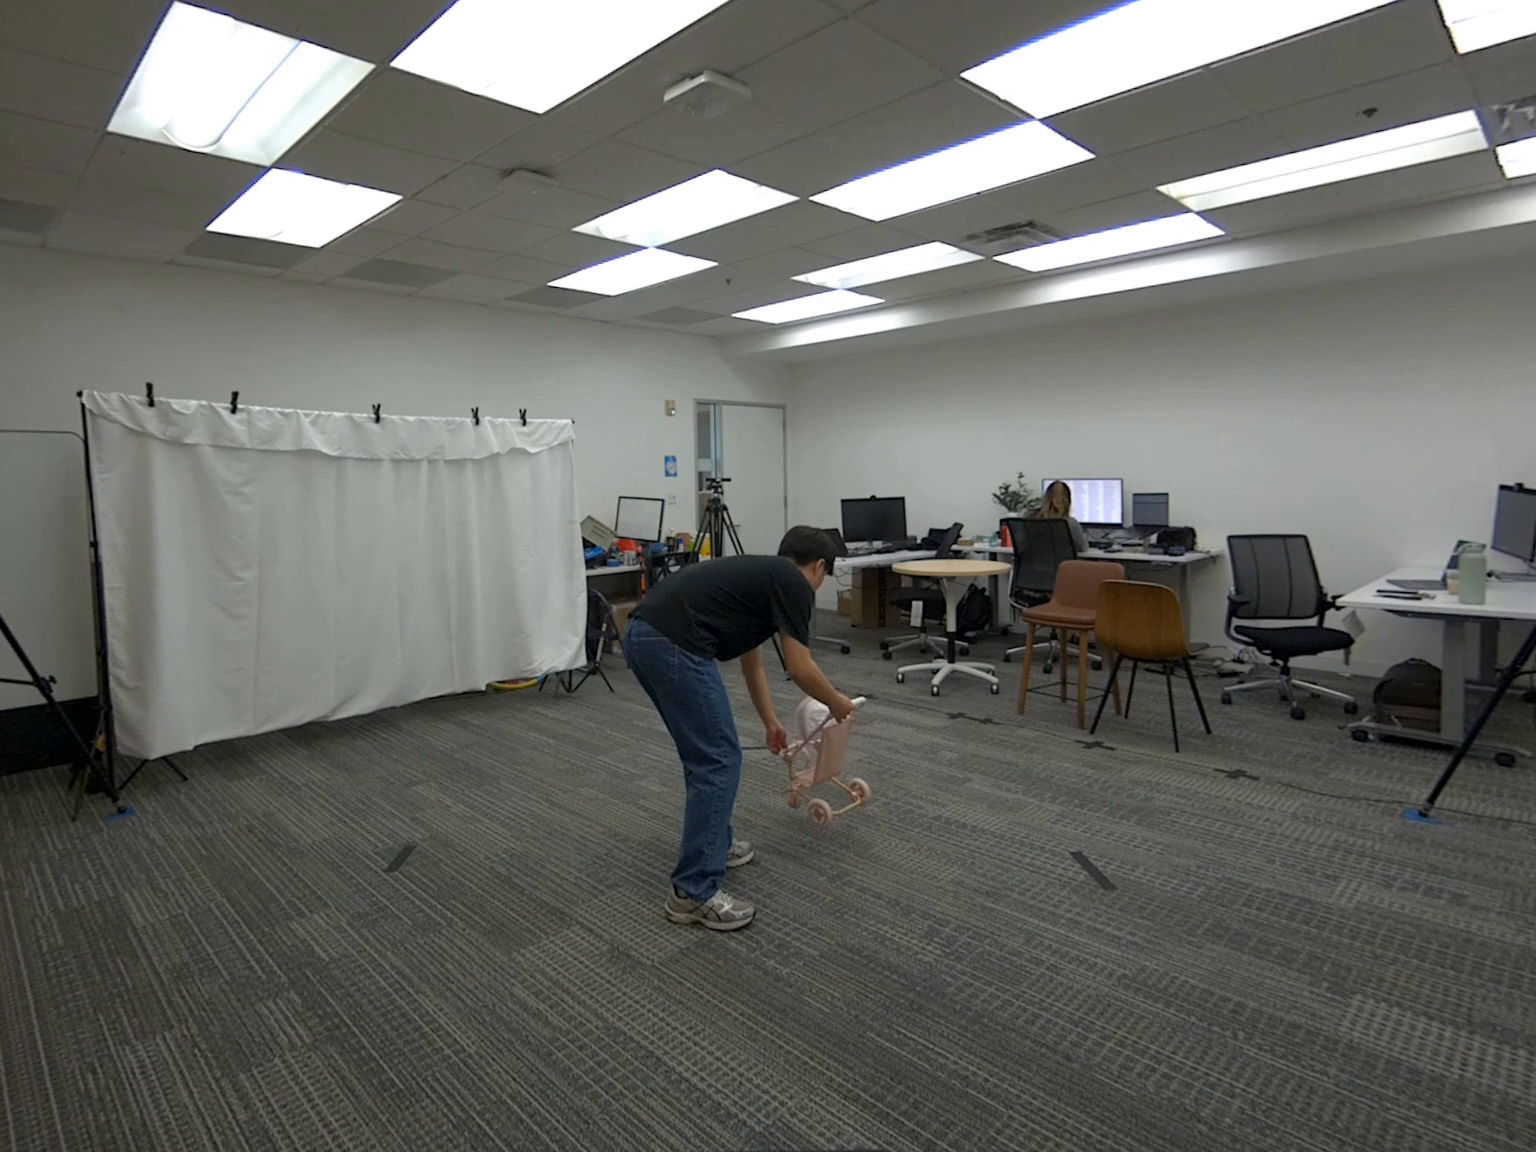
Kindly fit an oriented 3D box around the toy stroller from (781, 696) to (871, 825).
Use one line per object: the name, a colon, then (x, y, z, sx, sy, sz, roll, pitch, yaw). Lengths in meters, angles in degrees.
toy stroller: (0.210, 0.710, 3.367, 0.275, 0.530, 0.353, -10, 14, -40)
